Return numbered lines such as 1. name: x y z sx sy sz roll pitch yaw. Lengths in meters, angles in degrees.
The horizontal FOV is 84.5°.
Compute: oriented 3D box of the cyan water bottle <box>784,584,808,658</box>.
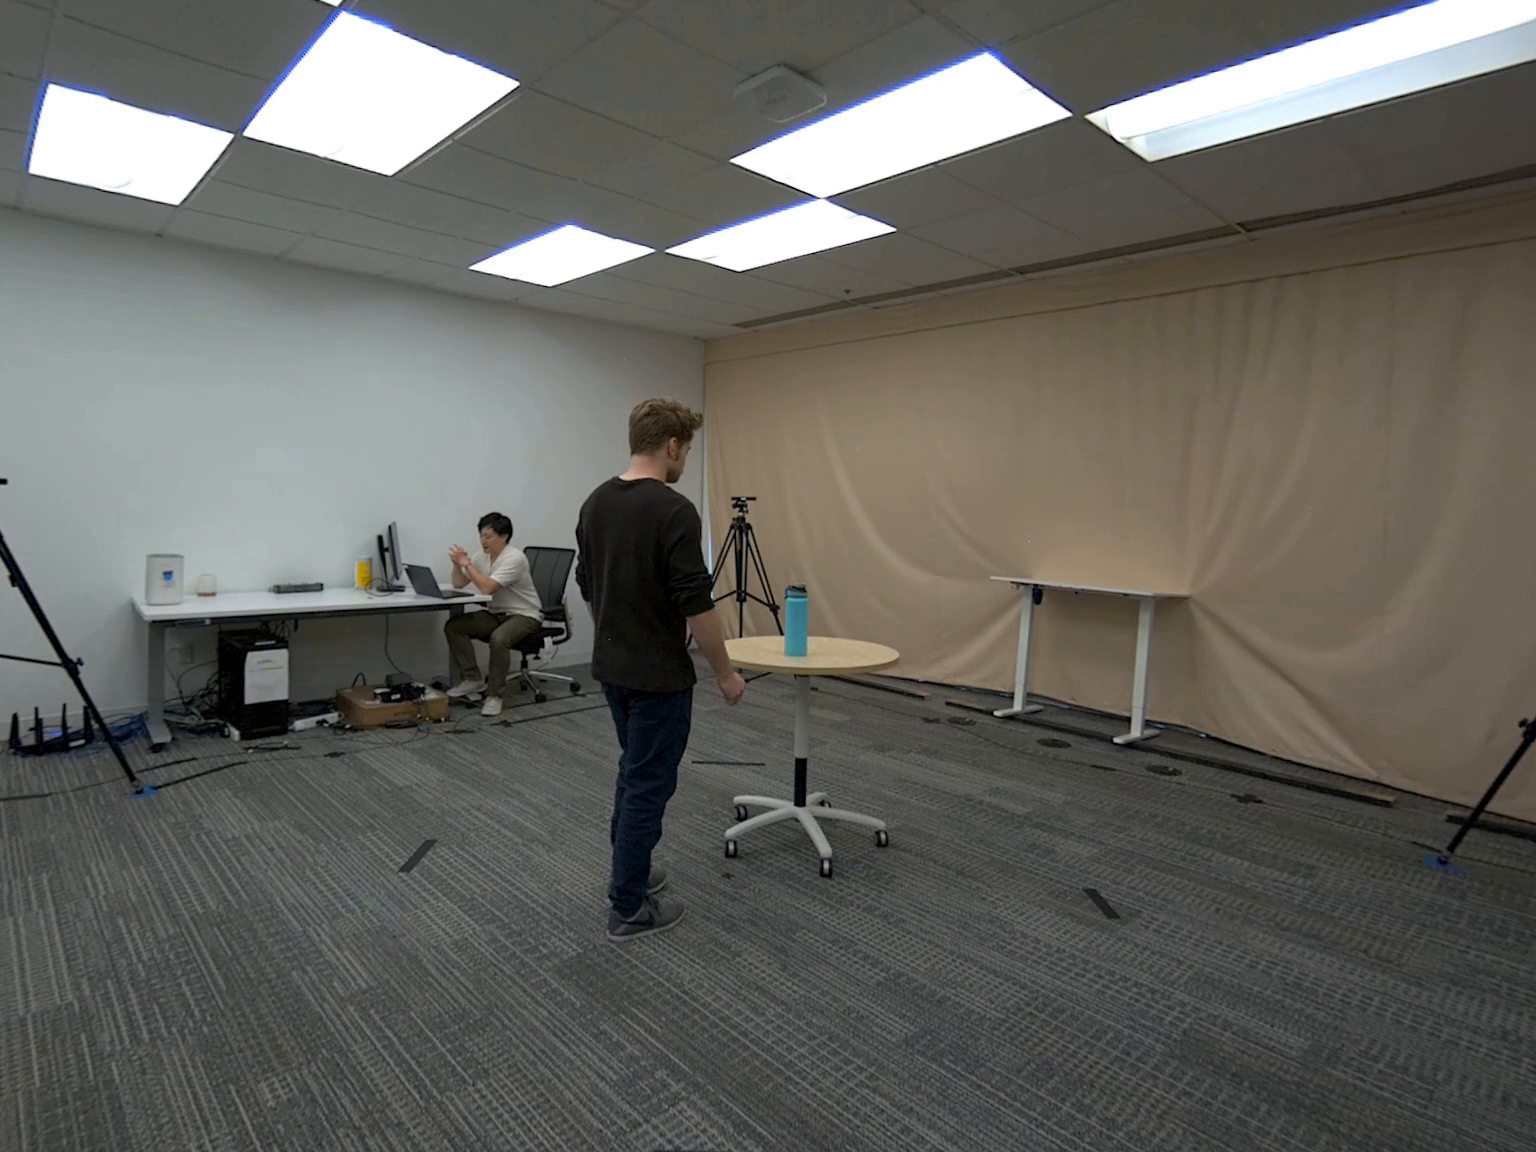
1. cyan water bottle: 0.104 0.171 3.327 0.092 0.283 0.092 2 1 -1
